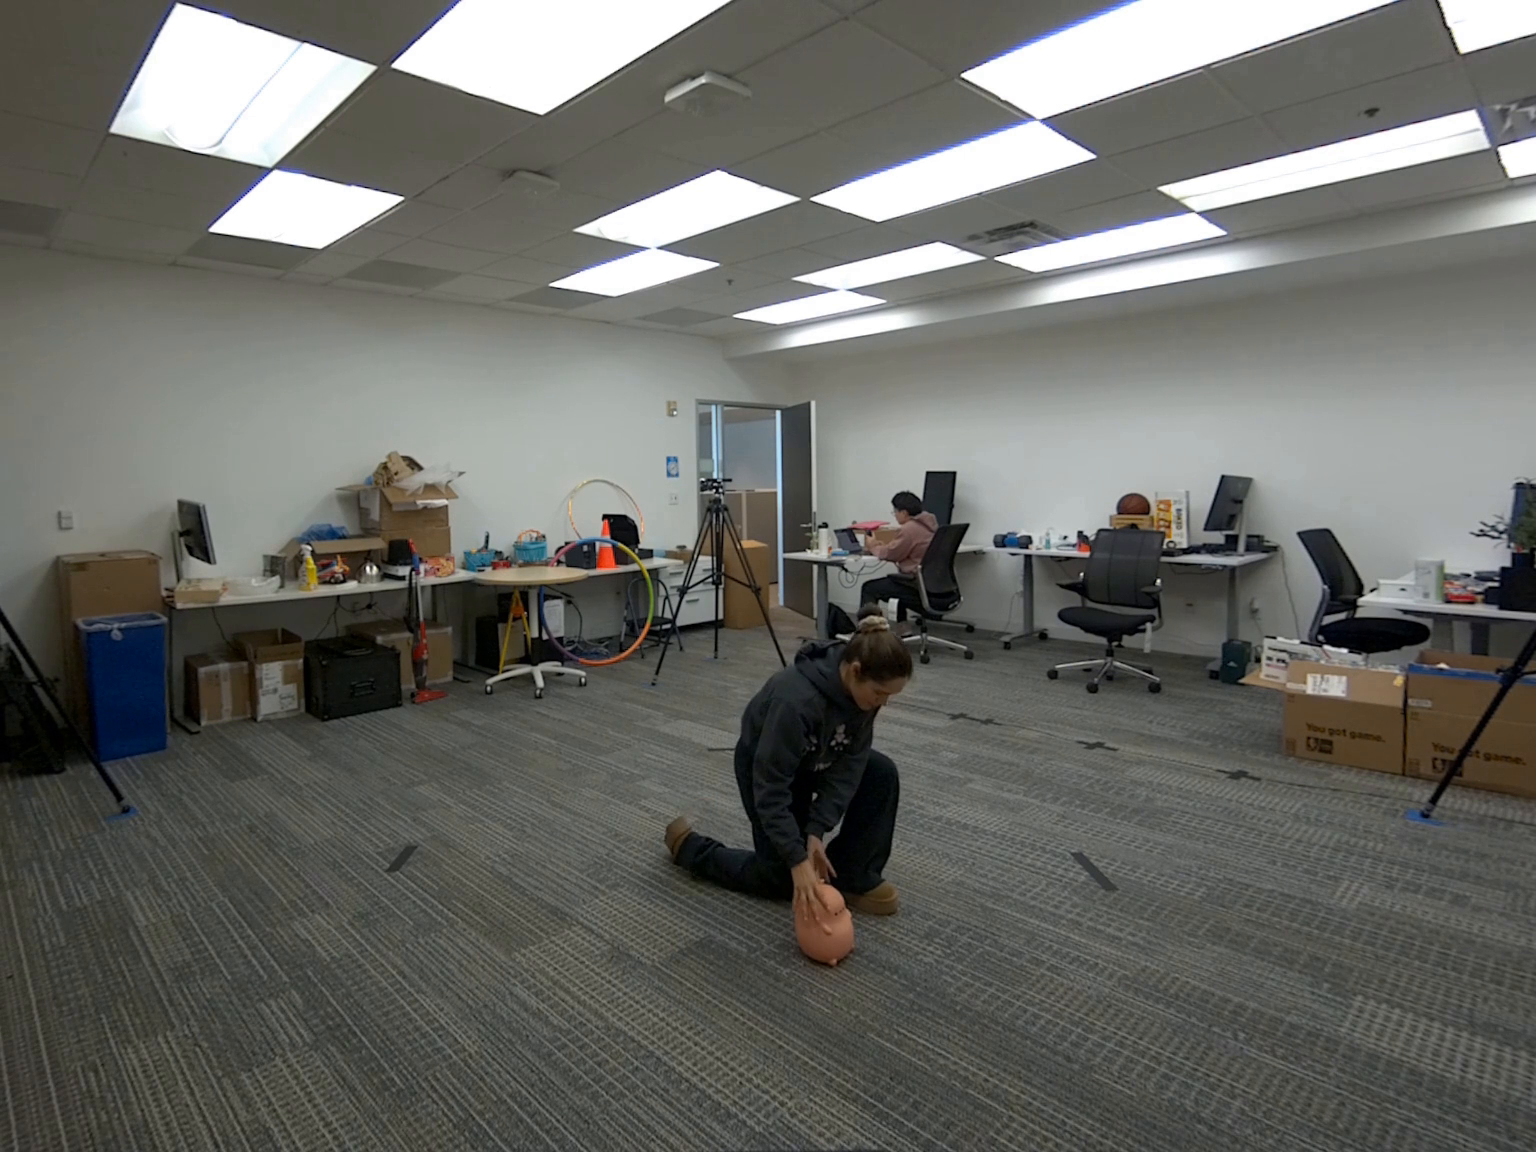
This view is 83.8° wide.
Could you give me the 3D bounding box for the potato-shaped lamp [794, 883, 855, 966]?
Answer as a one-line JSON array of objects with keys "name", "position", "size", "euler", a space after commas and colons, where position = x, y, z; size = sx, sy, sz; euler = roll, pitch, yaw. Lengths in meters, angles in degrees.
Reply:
[{"name": "potato-shaped lamp", "position": [0.167, 1.014, 2.501], "size": [0.176, 0.197, 0.160], "euler": [0, 5, 40]}]
